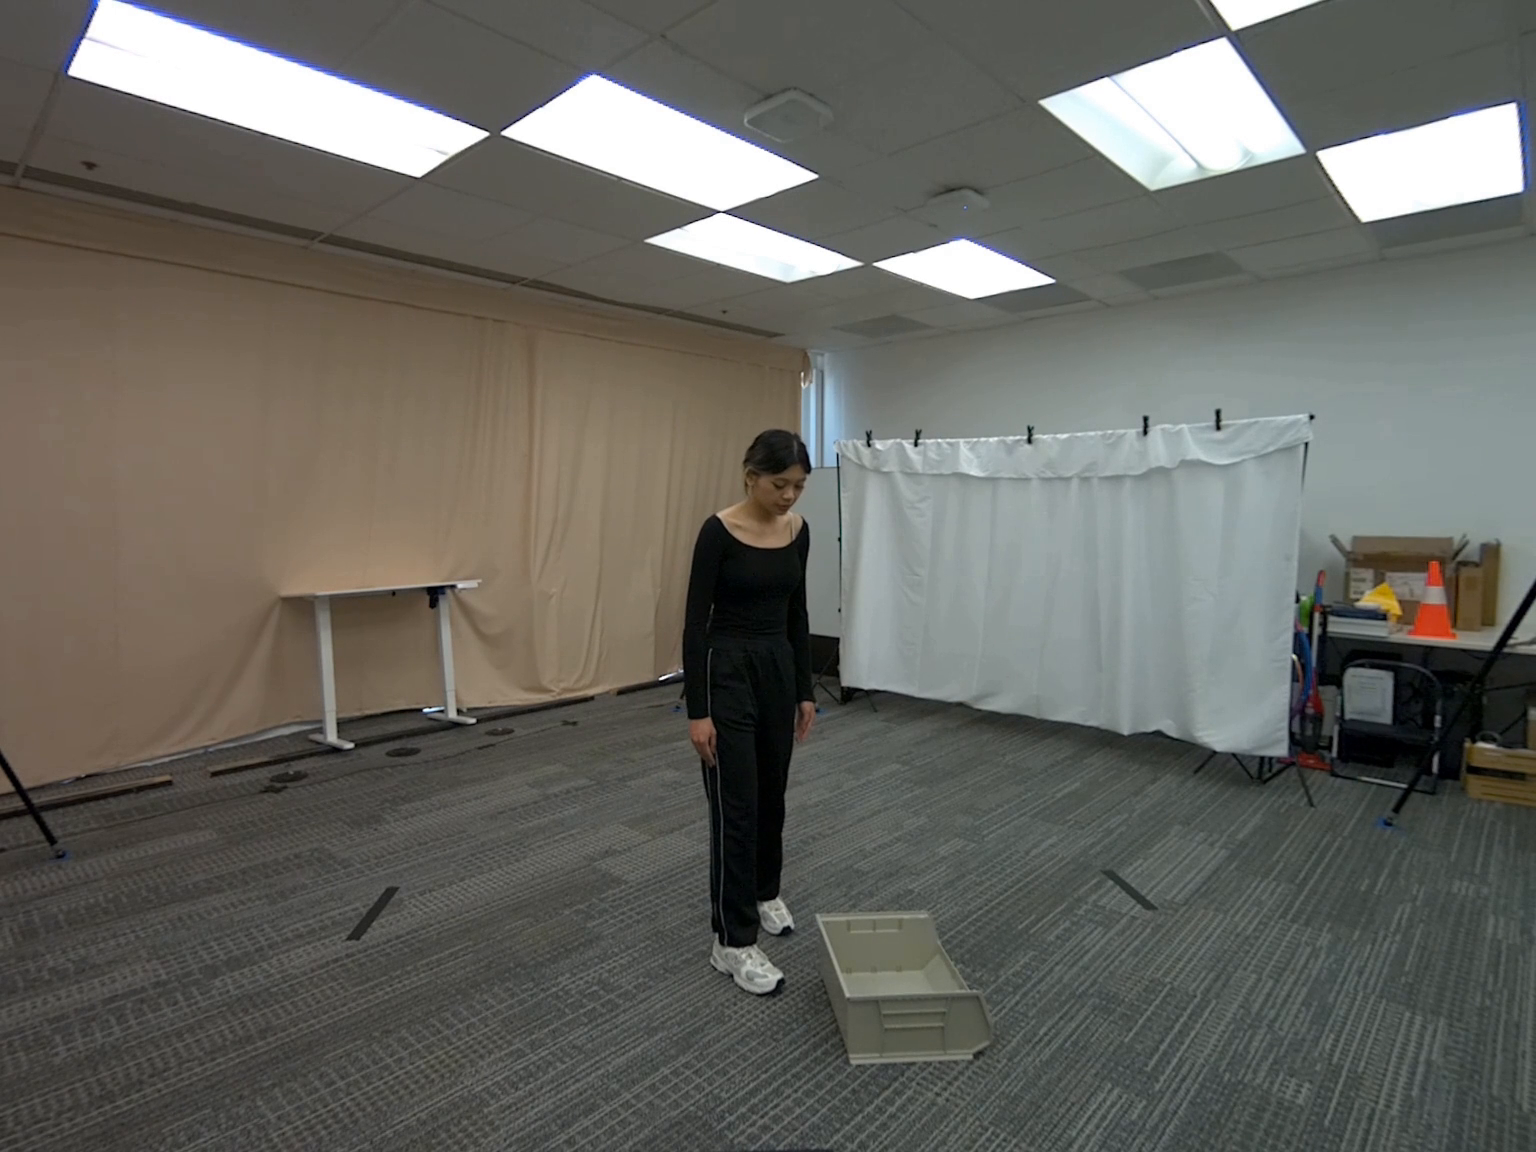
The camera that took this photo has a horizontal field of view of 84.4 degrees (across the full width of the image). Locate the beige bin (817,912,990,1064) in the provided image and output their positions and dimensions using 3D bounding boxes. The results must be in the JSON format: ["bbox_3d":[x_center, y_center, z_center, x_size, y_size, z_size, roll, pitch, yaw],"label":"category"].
[{"bbox_3d":[0.363,1.115,2.301,0.375,0.188,0.426,-1,5,-6],"label":"beige bin"}]
